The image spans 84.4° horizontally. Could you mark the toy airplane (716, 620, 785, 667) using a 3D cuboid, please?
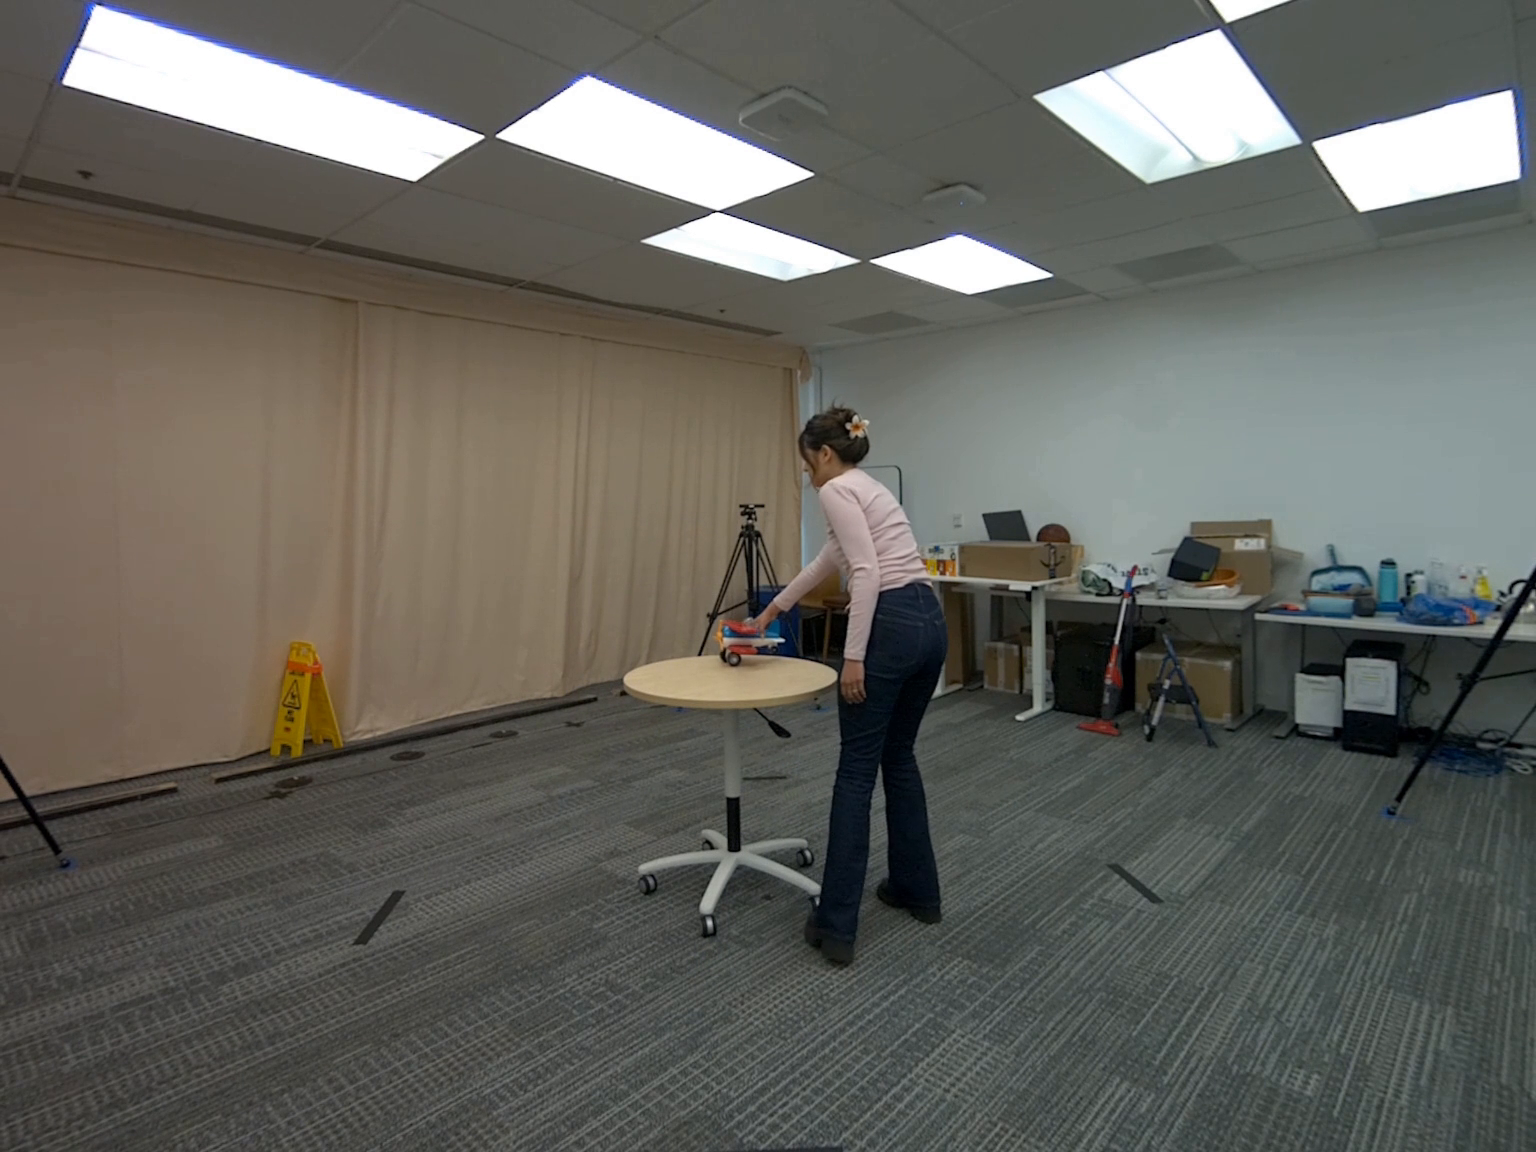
[{"bbox_3d":[-0.077,0.246,3.254,0.259,0.155,0.252,-3,10,45],"label":"toy airplane"}]
